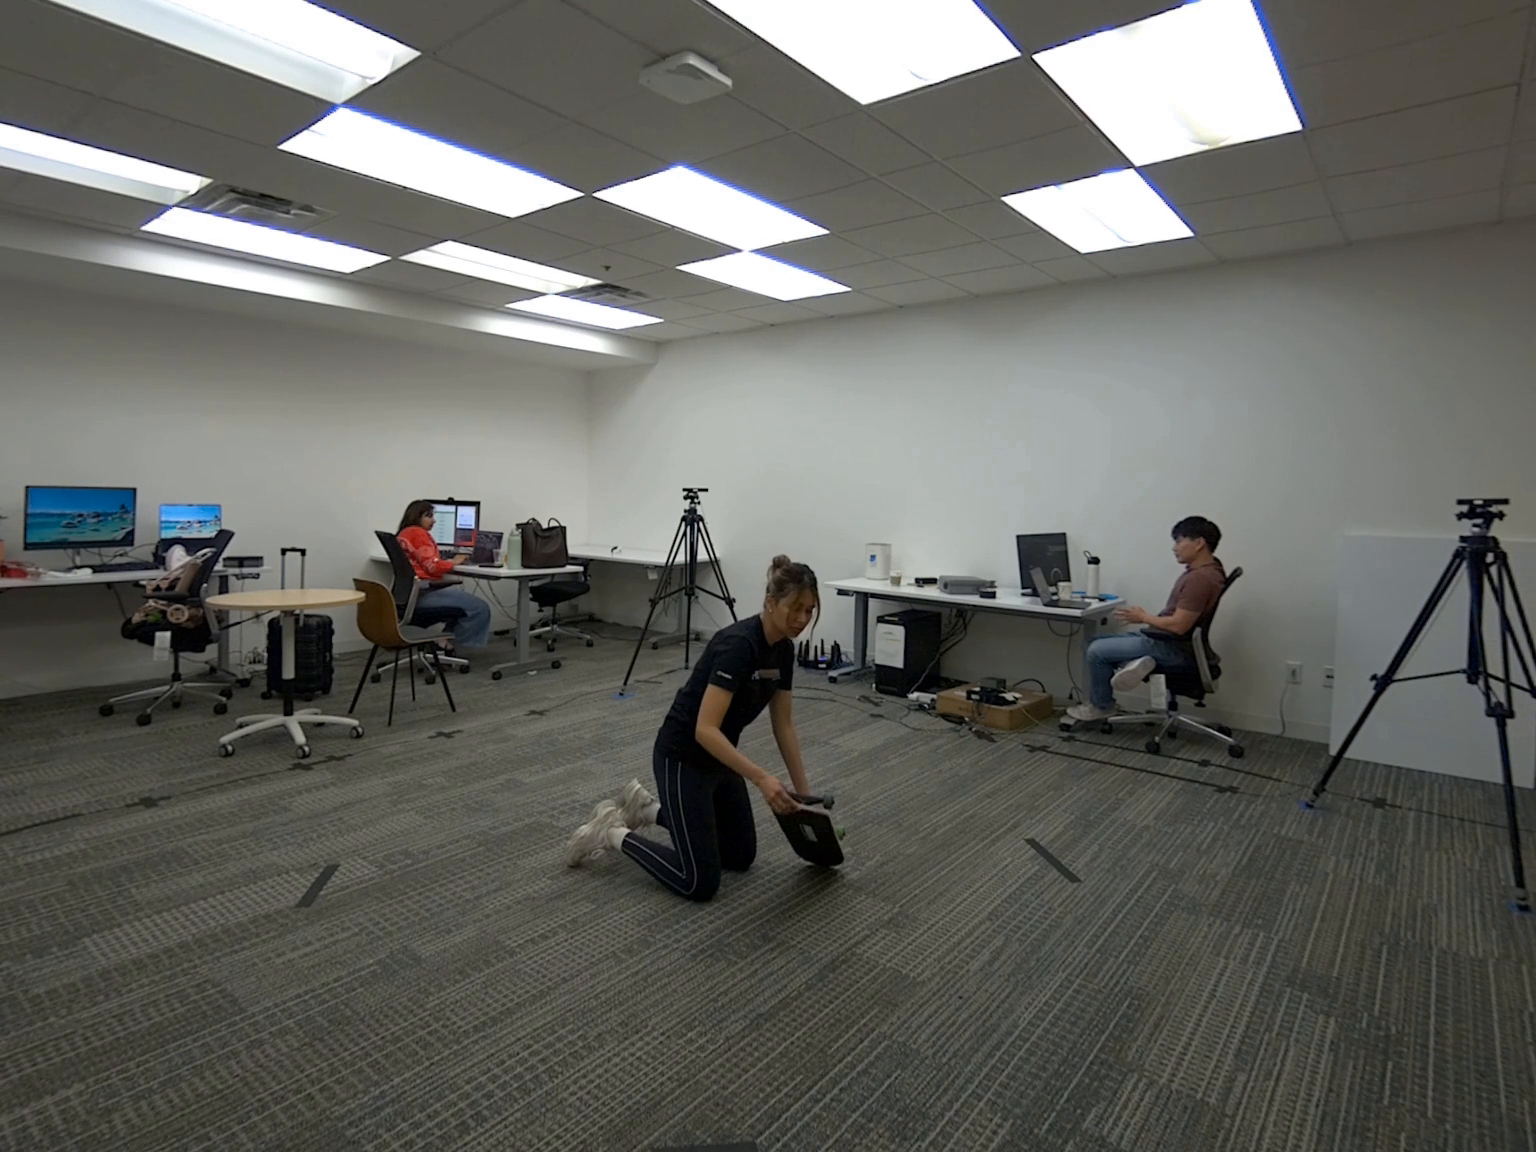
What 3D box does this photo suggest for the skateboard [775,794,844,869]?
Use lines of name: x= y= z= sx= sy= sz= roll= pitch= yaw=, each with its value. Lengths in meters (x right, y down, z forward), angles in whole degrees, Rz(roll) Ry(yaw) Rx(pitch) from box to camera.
skateboard: x=0.136 y=0.836 z=2.867 sx=0.197 sy=0.112 sz=0.758 roll=5 pitch=-31 yaw=14
